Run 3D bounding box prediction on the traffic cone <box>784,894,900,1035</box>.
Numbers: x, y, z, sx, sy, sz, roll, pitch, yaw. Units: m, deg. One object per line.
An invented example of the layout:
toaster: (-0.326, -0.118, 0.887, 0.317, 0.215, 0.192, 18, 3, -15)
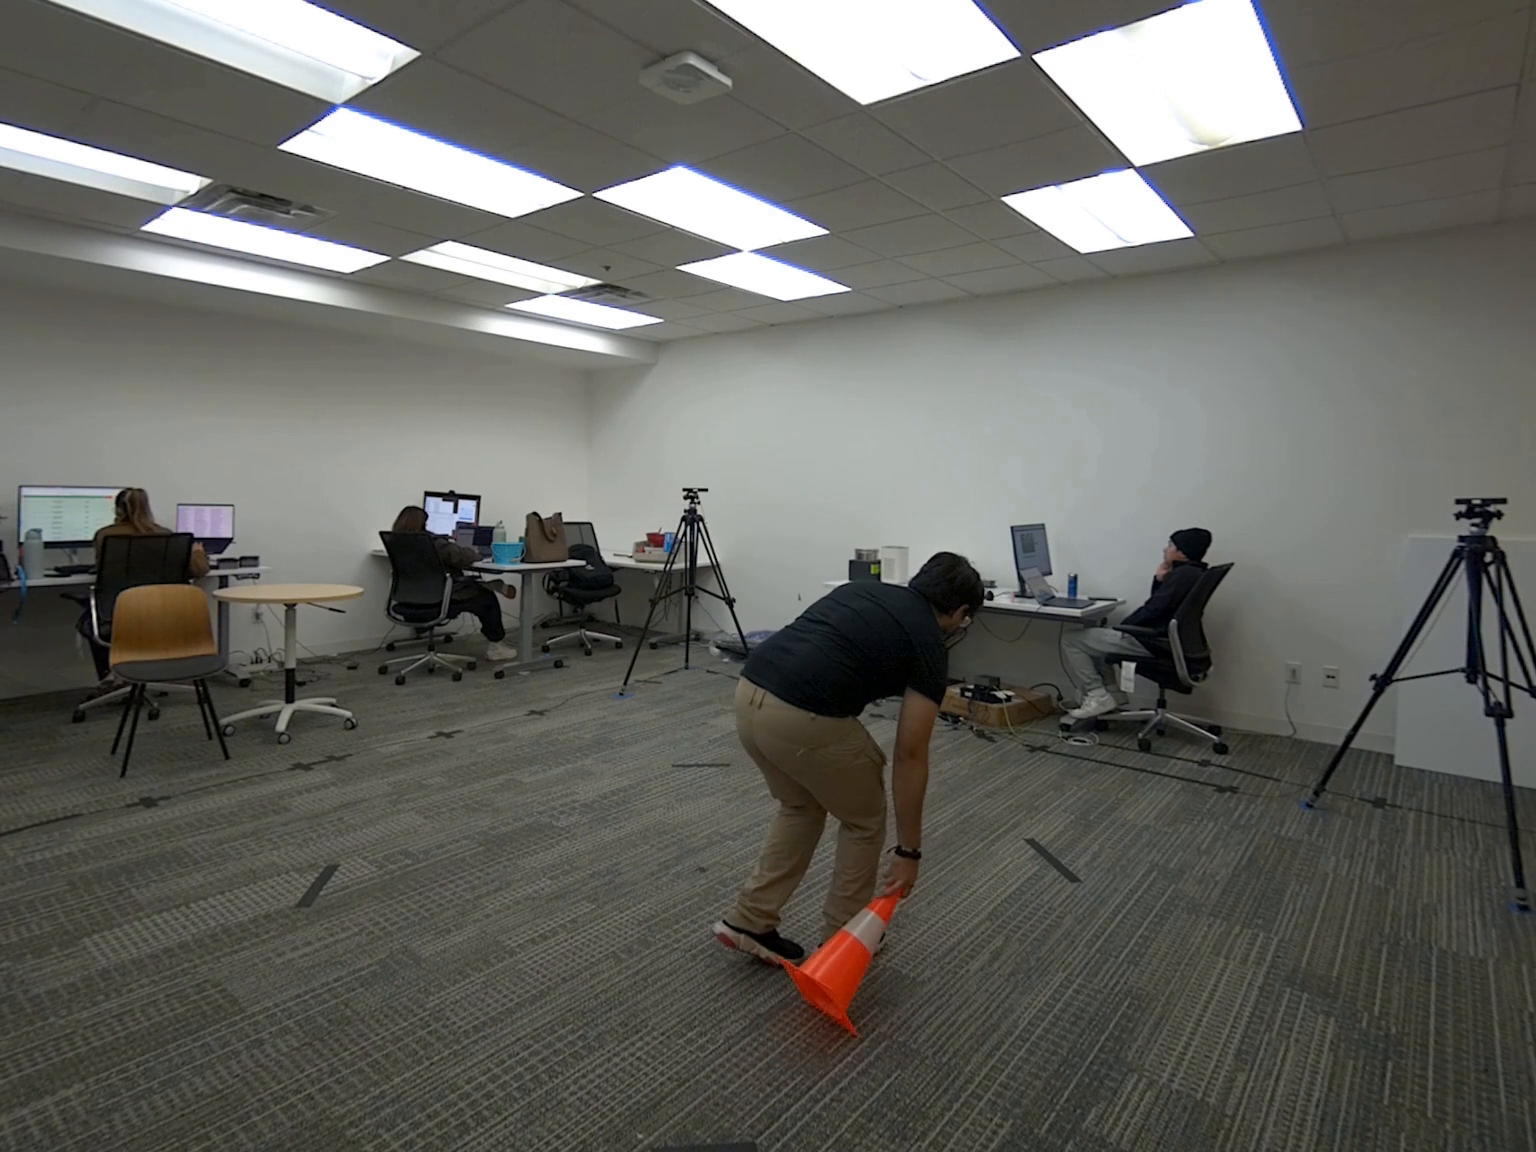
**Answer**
traffic cone: (0.241, 0.969, 2.304, 0.382, 0.199, 0.210, -43, 28, -28)
